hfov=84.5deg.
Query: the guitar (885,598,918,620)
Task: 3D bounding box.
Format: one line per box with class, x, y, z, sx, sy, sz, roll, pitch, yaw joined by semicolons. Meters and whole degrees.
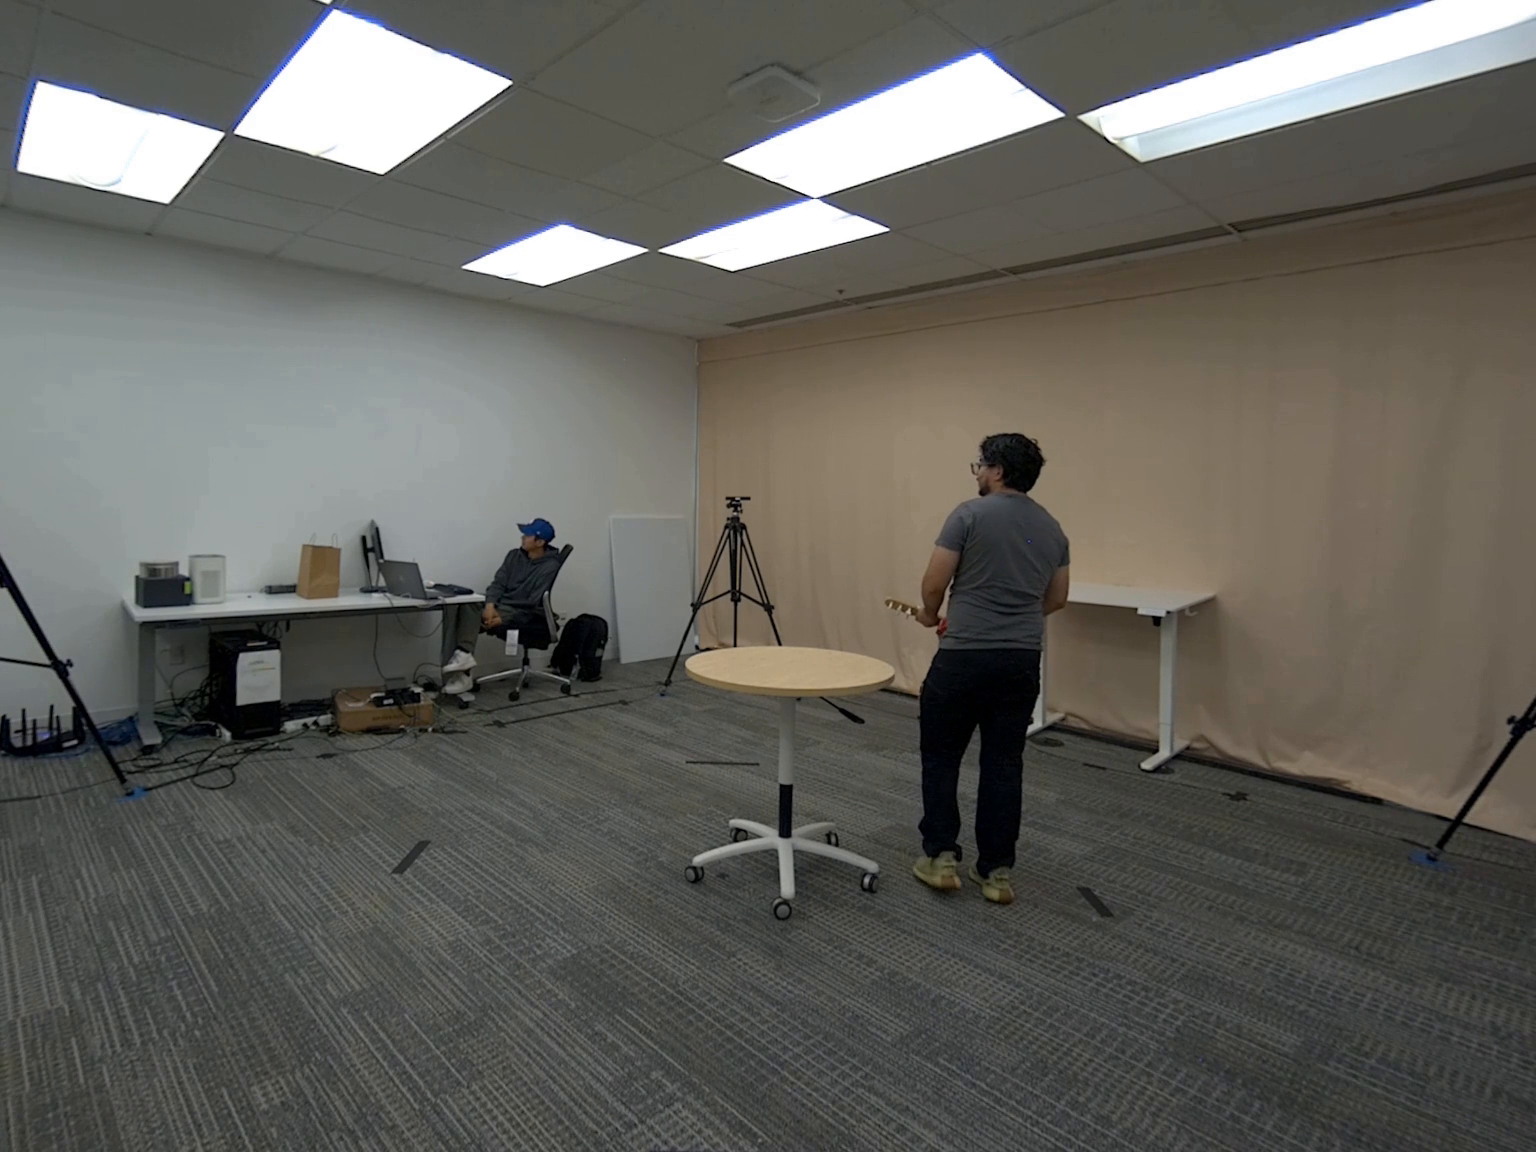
guitar;0.688;0.223;3.316;0.507;0.071;0.188;14;-36;21
